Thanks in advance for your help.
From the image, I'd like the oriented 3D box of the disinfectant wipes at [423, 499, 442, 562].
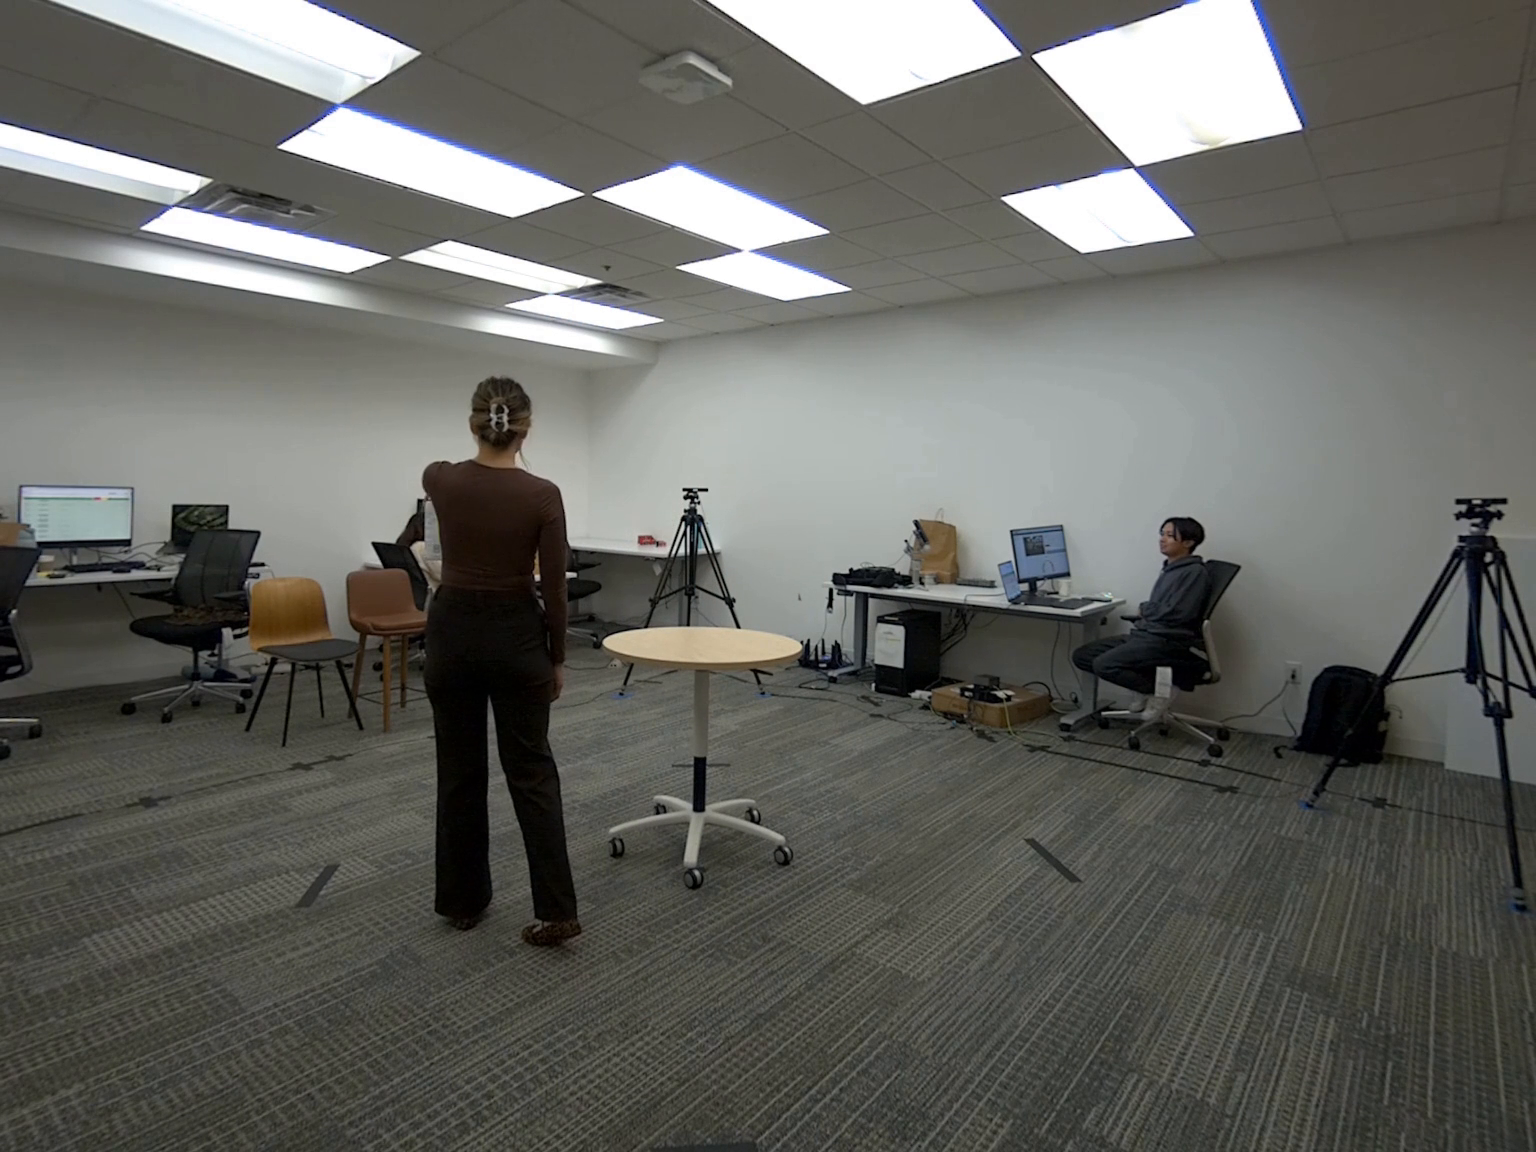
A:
[{"bbox_3d":[-1.210,-0.169,3.135,0.117,0.217,0.118,4,2,-2],"label":"disinfectant wipes"}]
